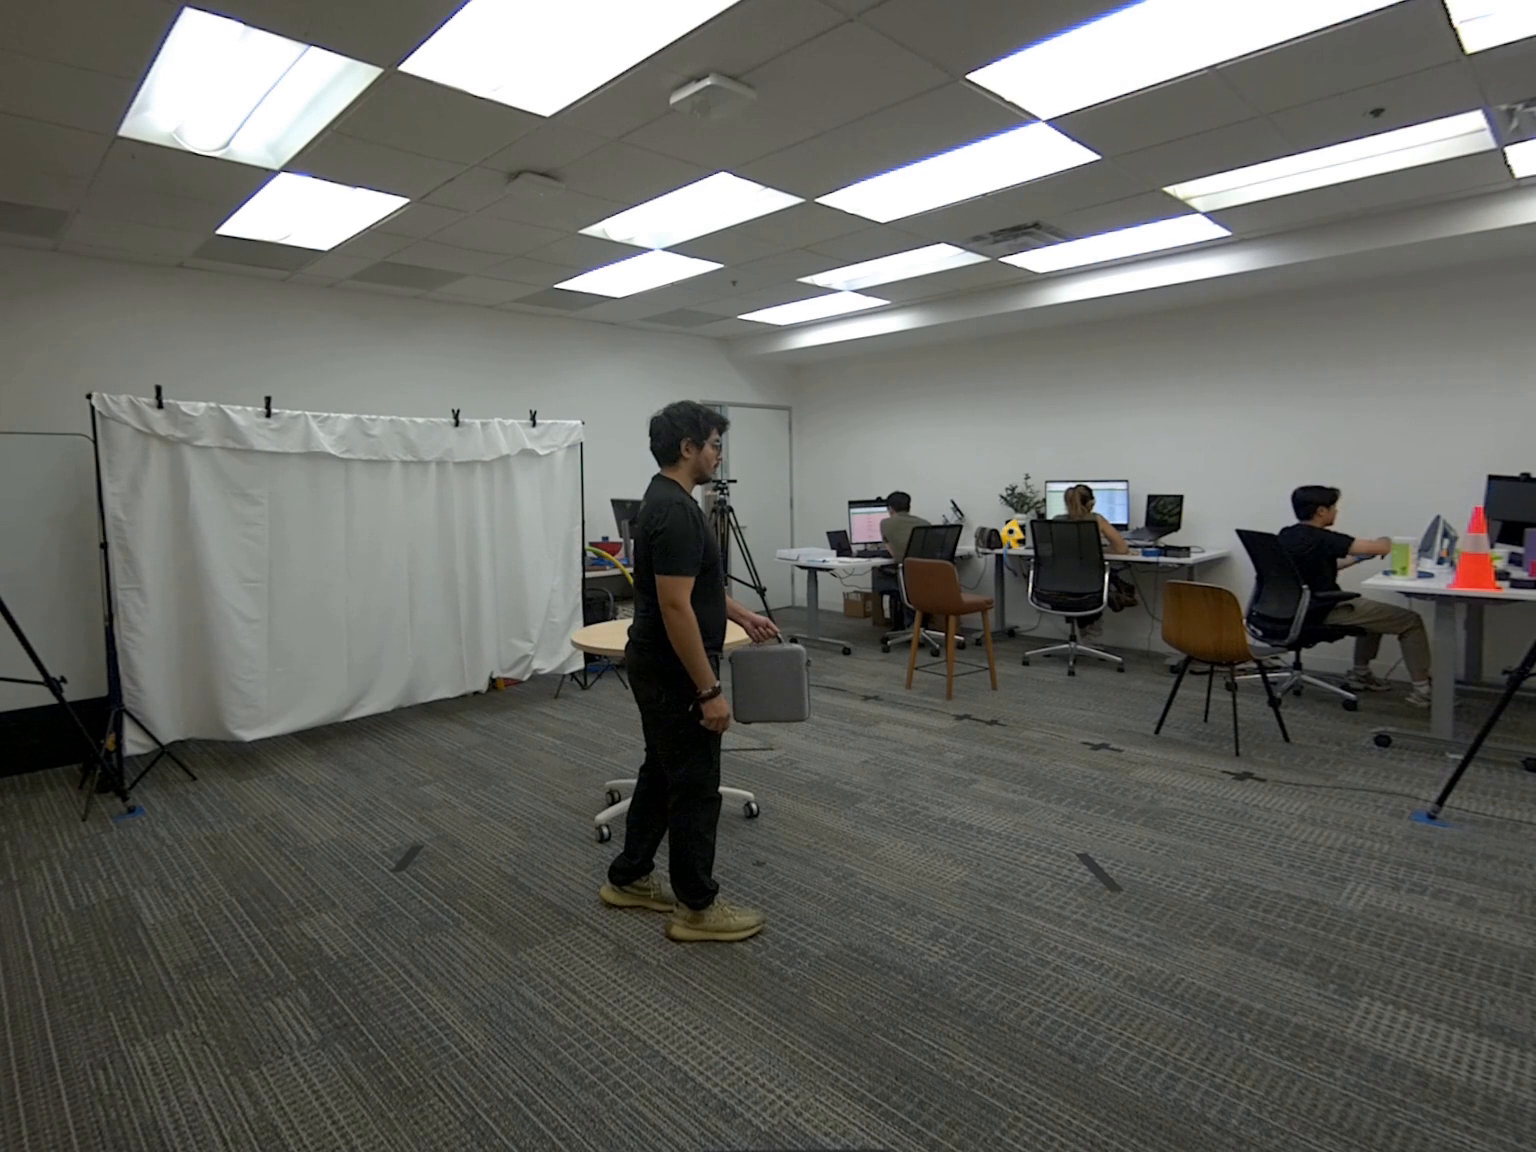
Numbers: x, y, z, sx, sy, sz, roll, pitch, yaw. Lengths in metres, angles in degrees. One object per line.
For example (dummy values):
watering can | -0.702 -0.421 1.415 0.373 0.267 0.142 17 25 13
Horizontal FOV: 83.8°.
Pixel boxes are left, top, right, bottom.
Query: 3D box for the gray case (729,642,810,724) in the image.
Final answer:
gray case | 0.011 0.343 2.834 0.259 0.262 0.103 -5 -4 10
